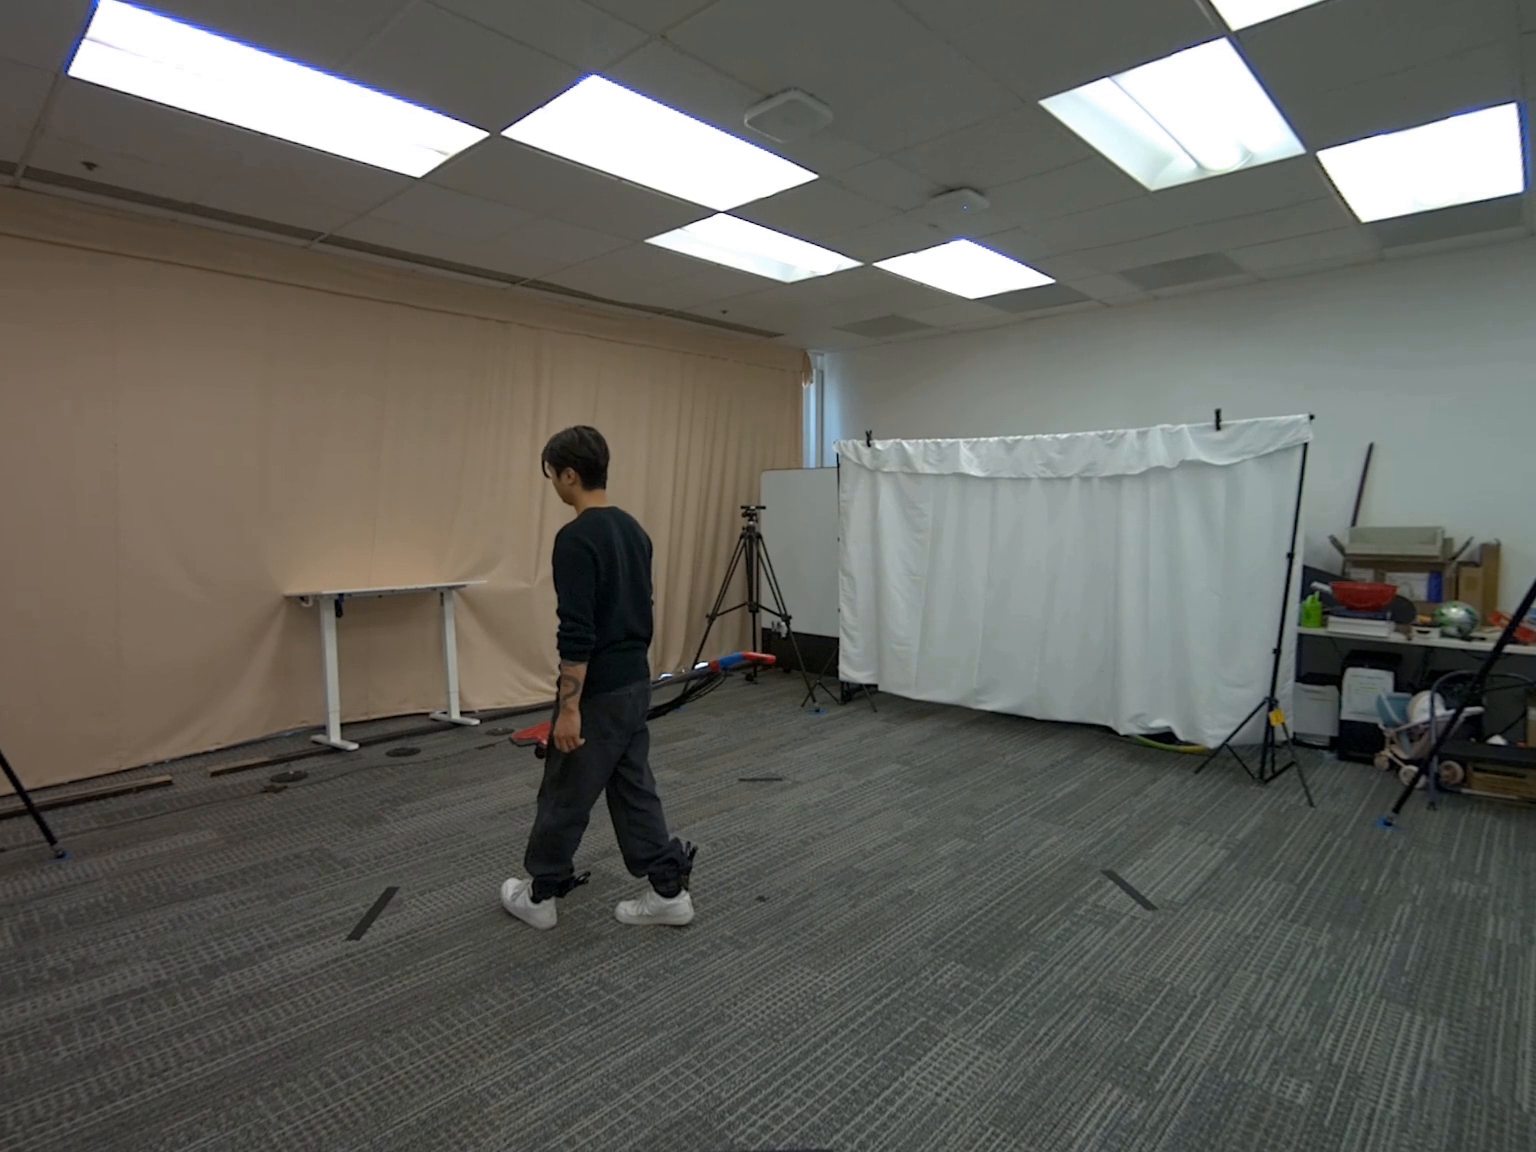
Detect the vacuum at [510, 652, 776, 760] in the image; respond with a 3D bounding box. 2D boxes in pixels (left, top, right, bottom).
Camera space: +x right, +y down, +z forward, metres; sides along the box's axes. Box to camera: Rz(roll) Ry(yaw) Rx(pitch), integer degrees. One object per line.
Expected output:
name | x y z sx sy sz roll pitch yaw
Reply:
vacuum | -0.441 0.451 3.031 1.066 0.145 0.246 -24 -7 24
